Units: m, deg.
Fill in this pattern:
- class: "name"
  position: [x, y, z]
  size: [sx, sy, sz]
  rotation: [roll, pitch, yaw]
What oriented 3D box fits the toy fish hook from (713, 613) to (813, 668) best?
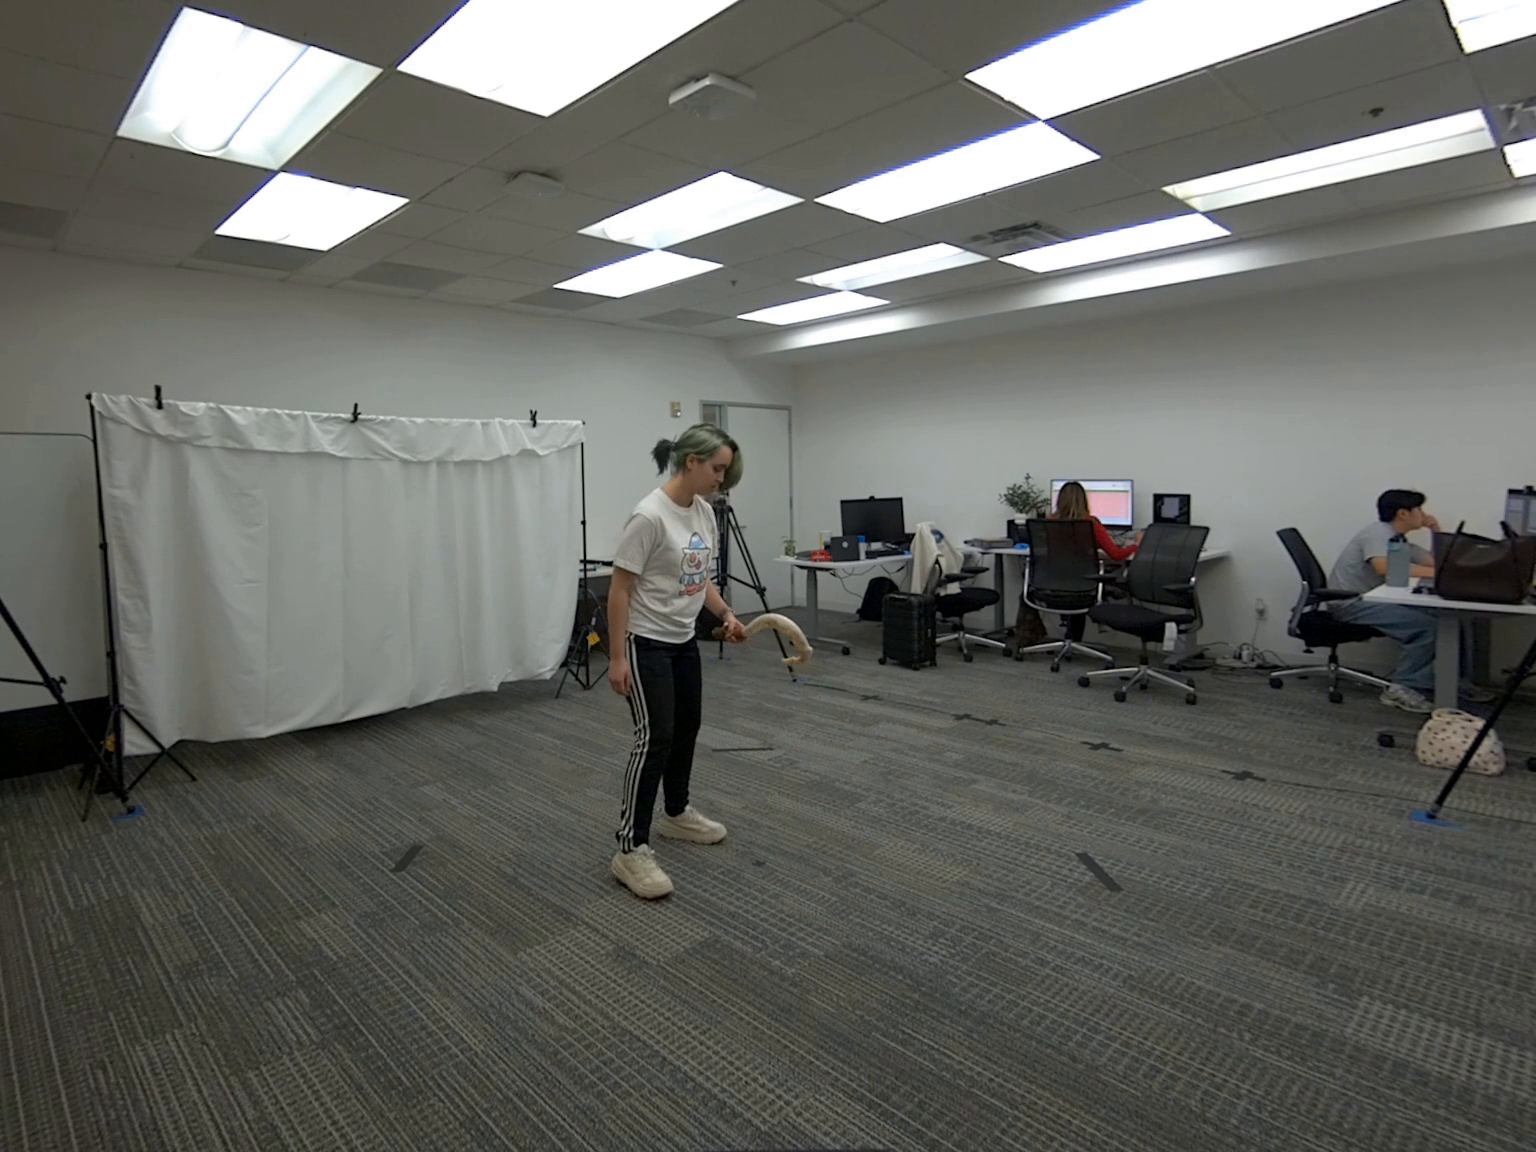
- class: "toy fish hook"
  position: [-0.022, 0.236, 3.014]
  size: [0.048, 0.221, 0.517]
  rotation: [-36, 14, -32]
